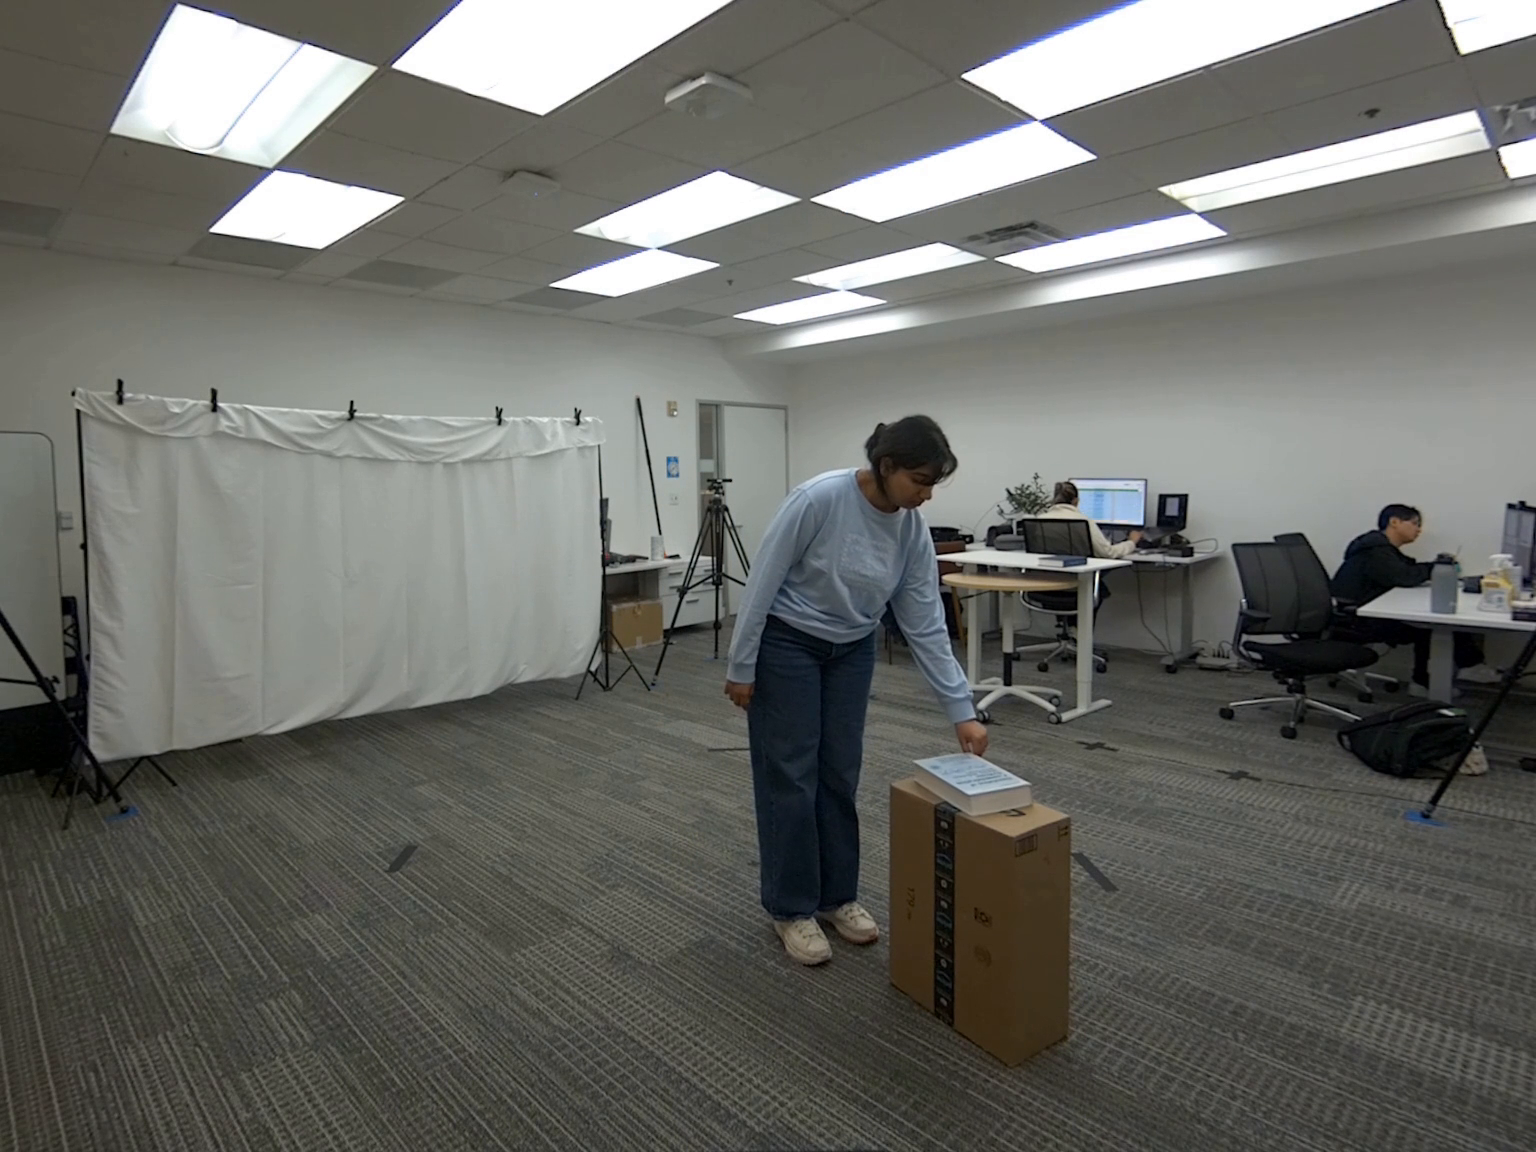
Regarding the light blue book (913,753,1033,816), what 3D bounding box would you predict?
[{"bbox_3d":[0.531,0.543,2.239,0.188,0.059,0.267,-5,8,-20],"label":"light blue book"}]
